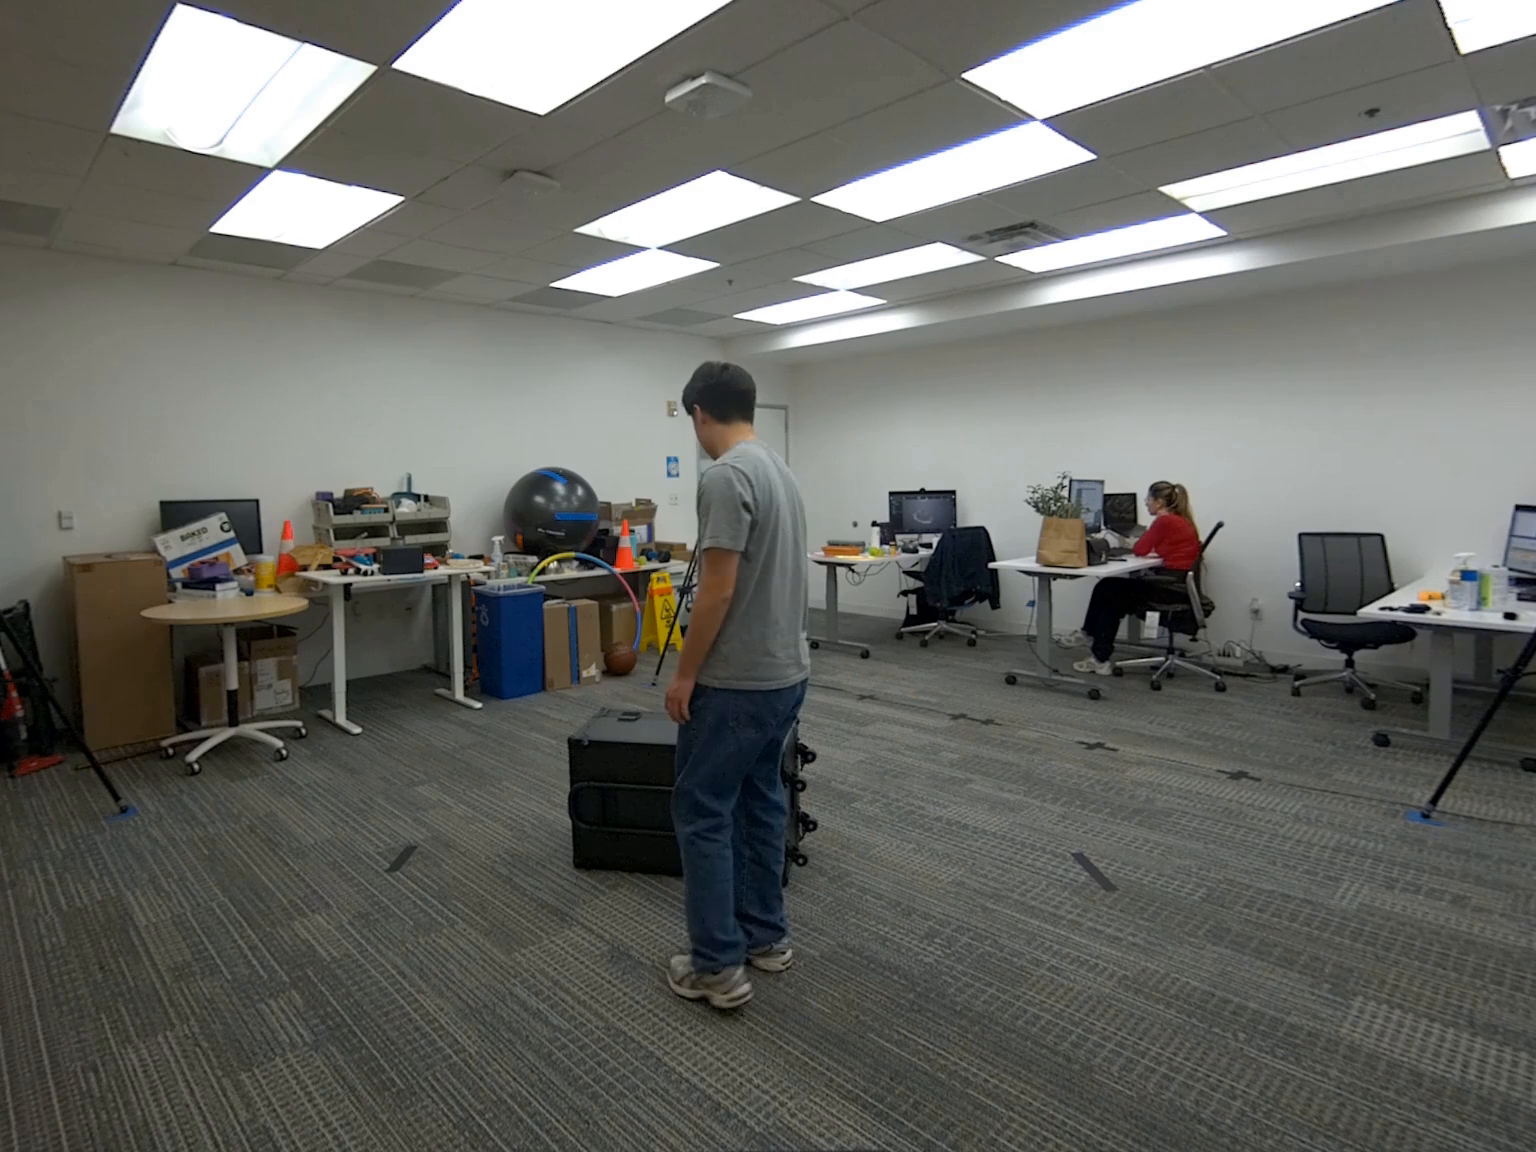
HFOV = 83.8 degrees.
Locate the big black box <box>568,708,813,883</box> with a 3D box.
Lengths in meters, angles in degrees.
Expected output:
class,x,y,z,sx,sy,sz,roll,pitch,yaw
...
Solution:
class,x,y,z,sx,sy,sz,roll,pitch,yaw
big black box,-0.325,0.794,3.150,0.873,0.518,0.393,0,6,13
